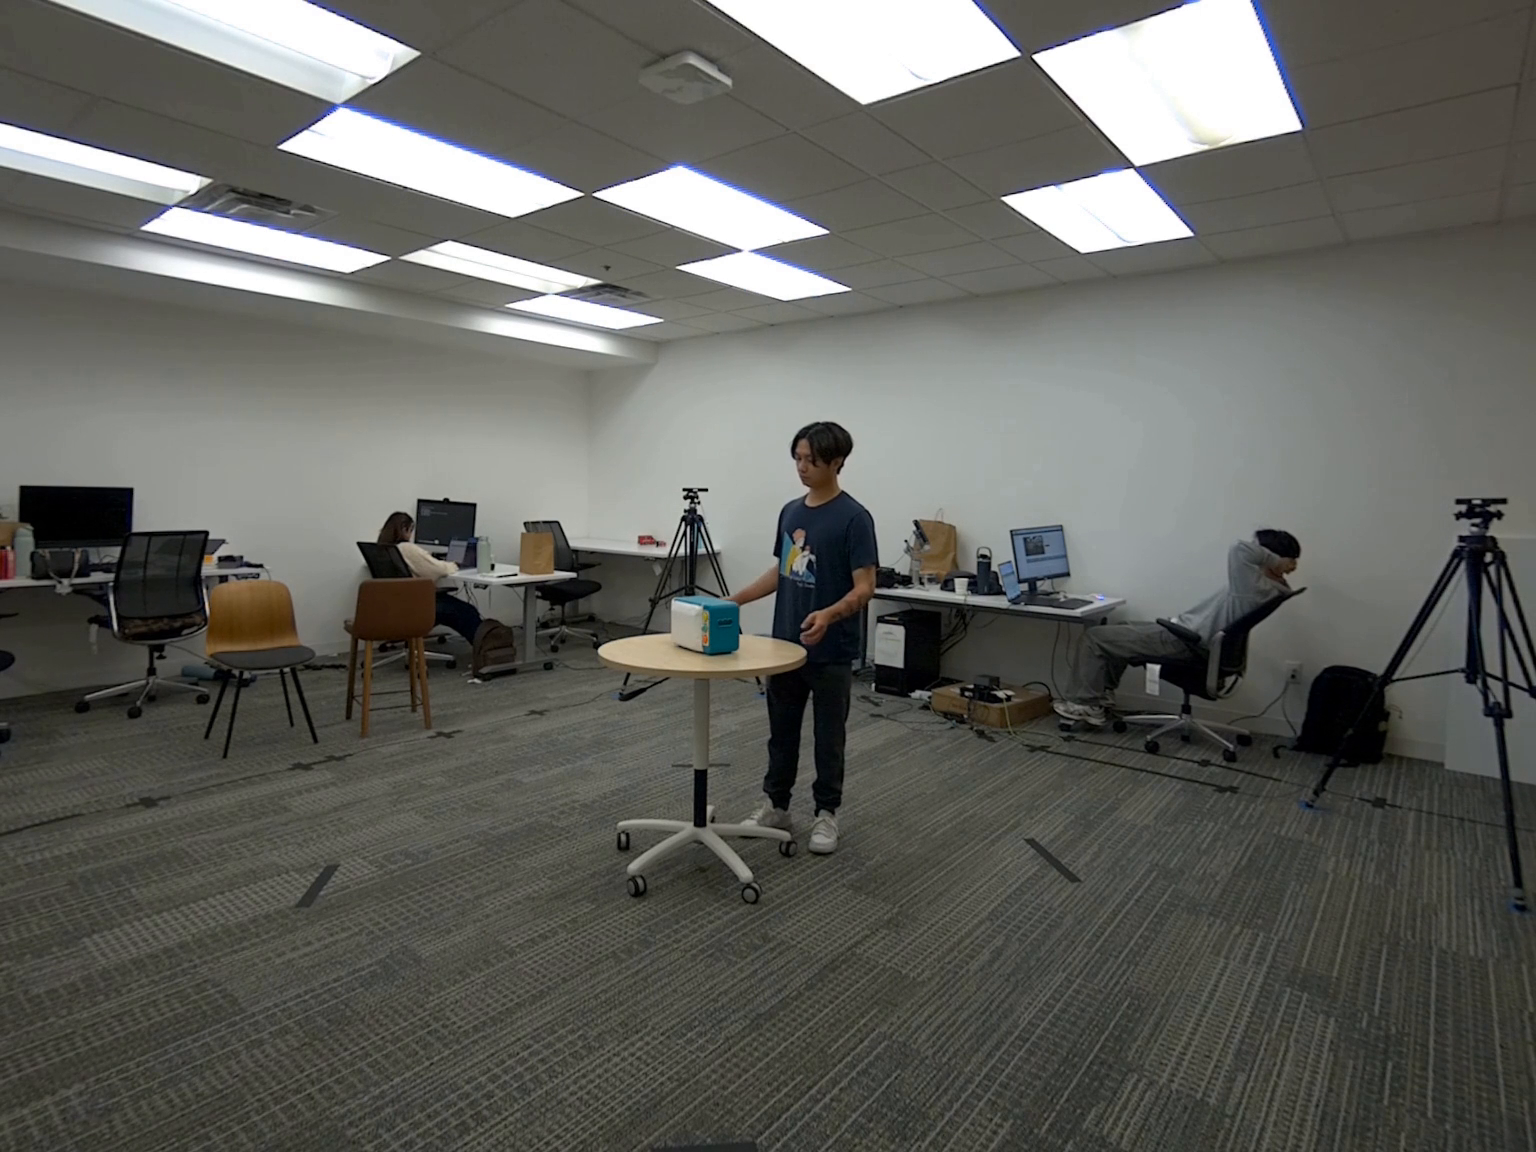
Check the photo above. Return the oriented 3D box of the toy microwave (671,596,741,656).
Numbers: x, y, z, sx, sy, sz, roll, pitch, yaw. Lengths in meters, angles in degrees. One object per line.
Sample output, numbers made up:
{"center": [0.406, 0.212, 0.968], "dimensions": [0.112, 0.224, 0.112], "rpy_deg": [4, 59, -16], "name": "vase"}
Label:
{"center": [-0.252, 0.175, 3.131], "dimensions": [0.148, 0.183, 0.295], "rpy_deg": [-2, 6, -33], "name": "toy microwave"}
